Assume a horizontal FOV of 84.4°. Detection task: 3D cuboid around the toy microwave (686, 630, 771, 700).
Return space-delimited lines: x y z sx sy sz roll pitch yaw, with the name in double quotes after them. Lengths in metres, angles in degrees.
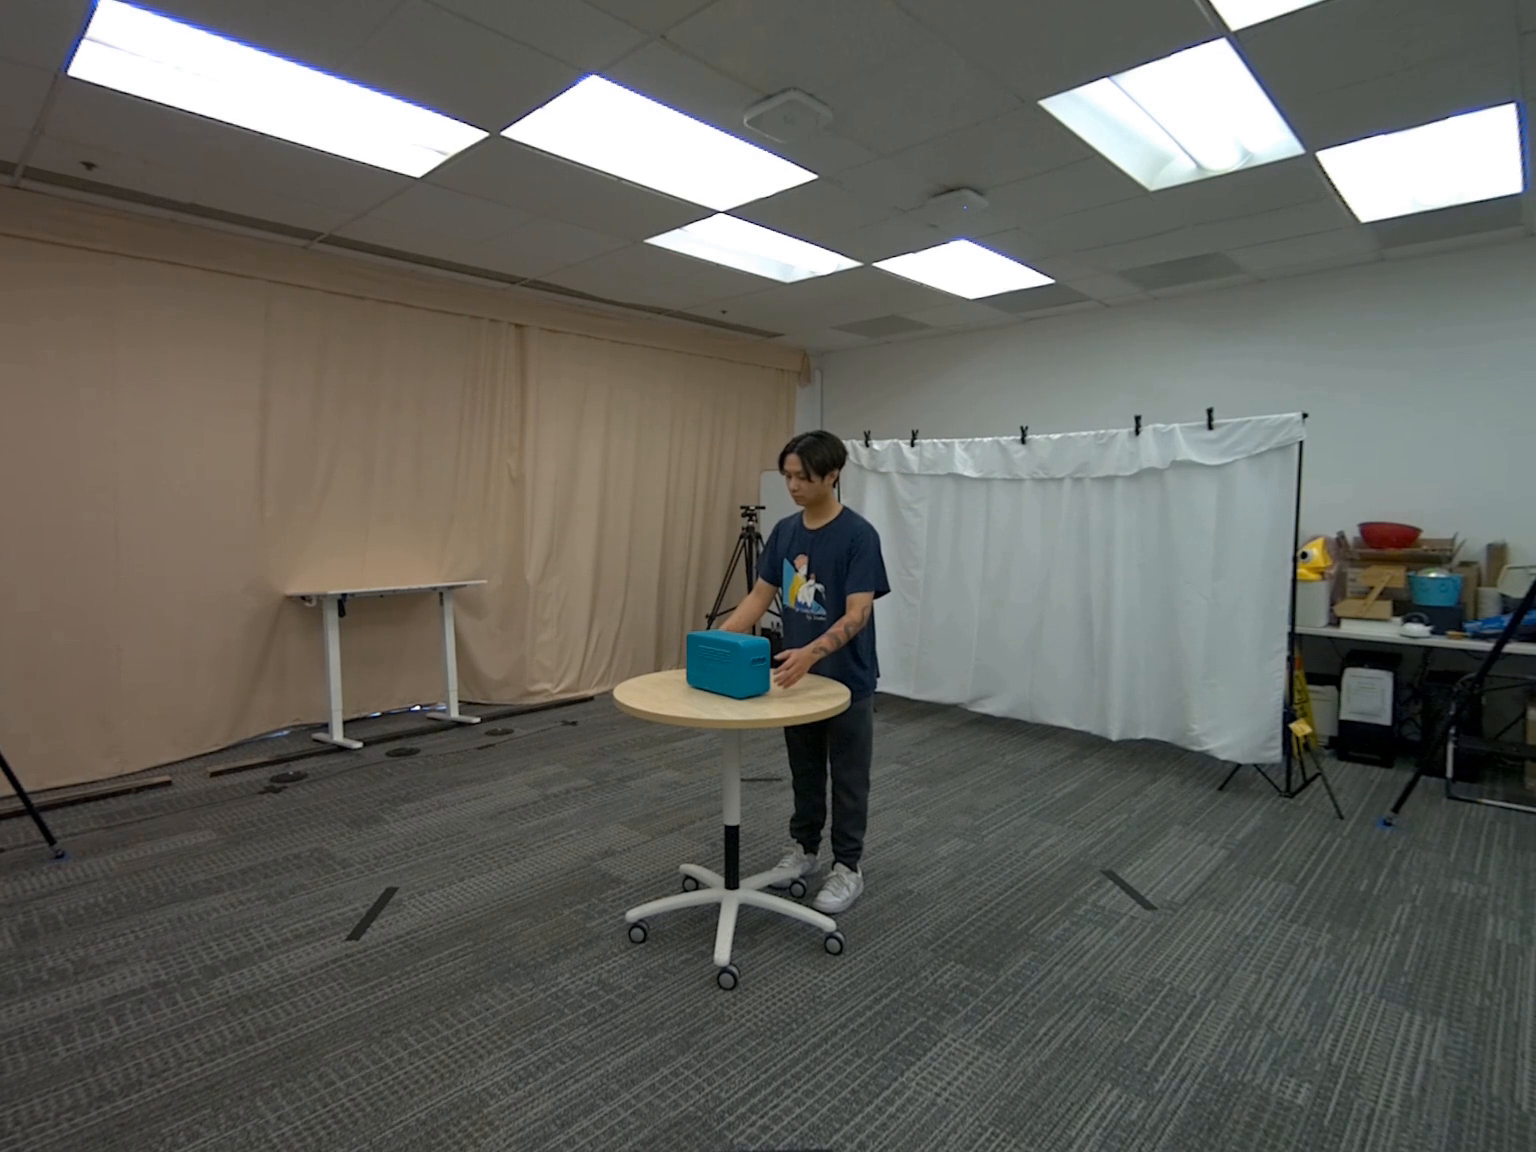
-0.123 0.282 2.707 0.148 0.184 0.296 -2 5 -41 "toy microwave"
